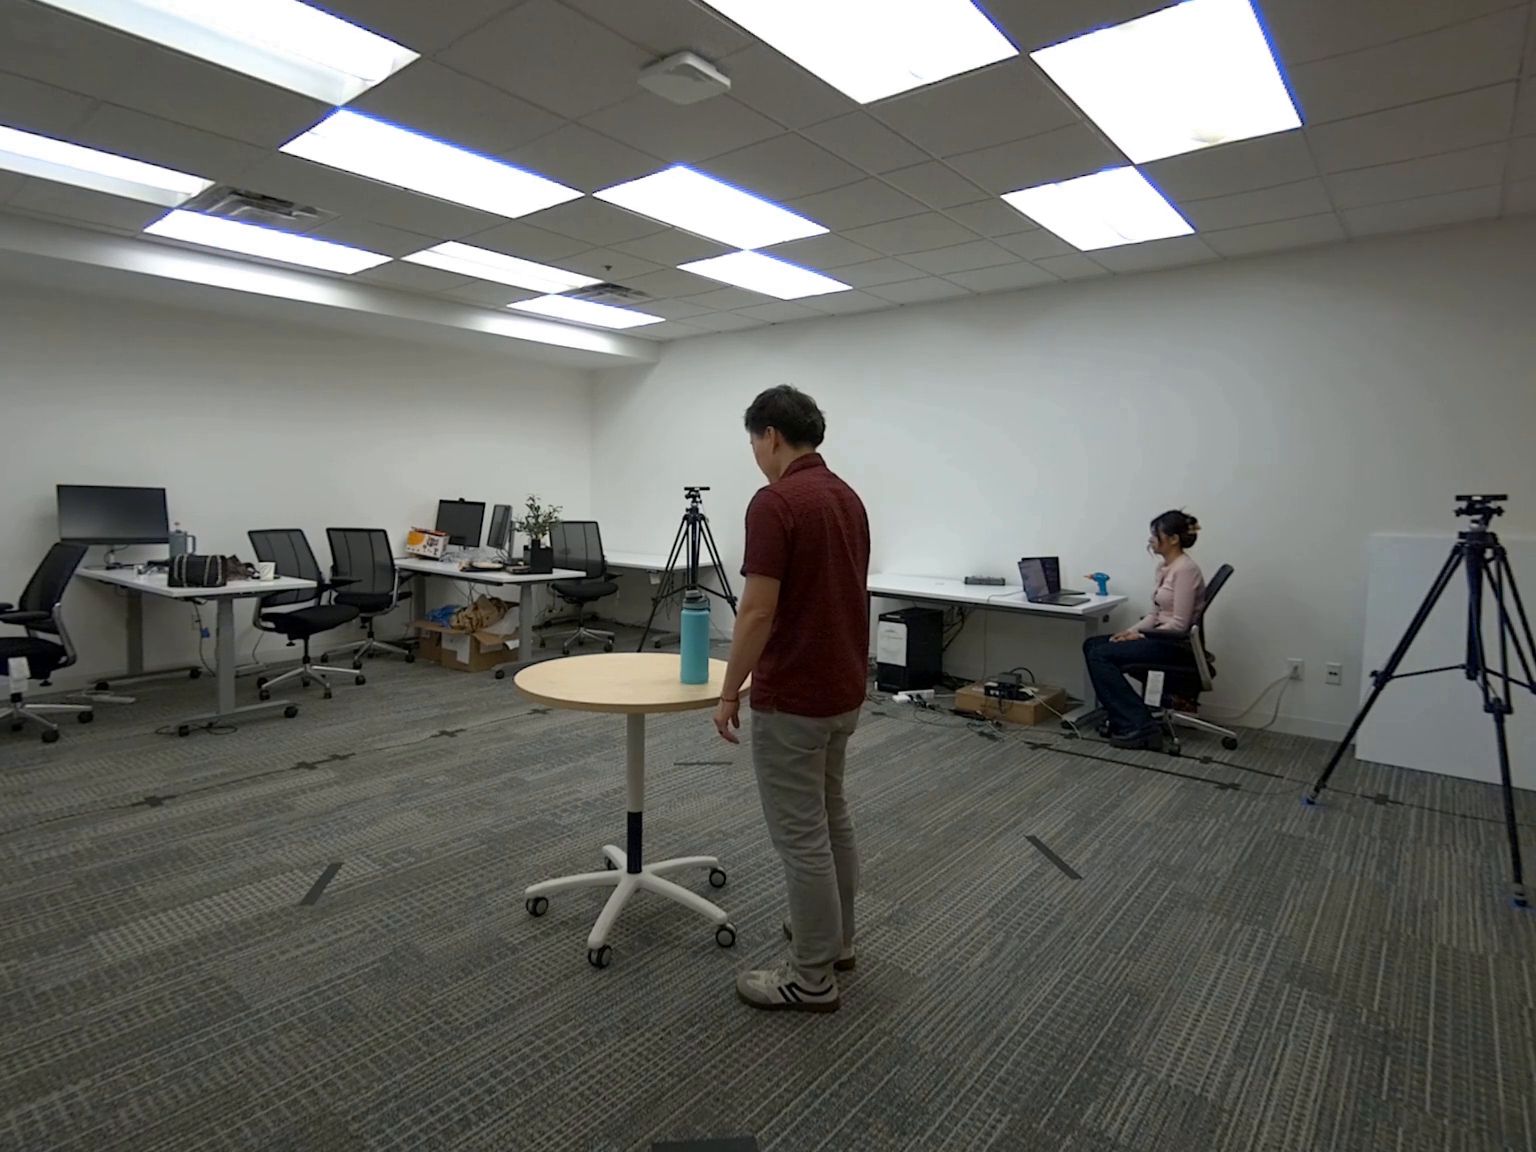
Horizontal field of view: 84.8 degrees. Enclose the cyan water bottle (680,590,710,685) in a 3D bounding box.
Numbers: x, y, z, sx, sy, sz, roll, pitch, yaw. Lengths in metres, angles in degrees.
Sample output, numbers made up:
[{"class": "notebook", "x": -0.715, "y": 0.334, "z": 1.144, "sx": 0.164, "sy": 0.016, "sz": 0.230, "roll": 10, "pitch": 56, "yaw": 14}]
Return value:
[{"class": "cyan water bottle", "x": -0.238, "y": 0.187, "z": 2.653, "sx": 0.092, "sy": 0.283, "sz": 0.092, "roll": -1, "pitch": 1, "yaw": -2}]
